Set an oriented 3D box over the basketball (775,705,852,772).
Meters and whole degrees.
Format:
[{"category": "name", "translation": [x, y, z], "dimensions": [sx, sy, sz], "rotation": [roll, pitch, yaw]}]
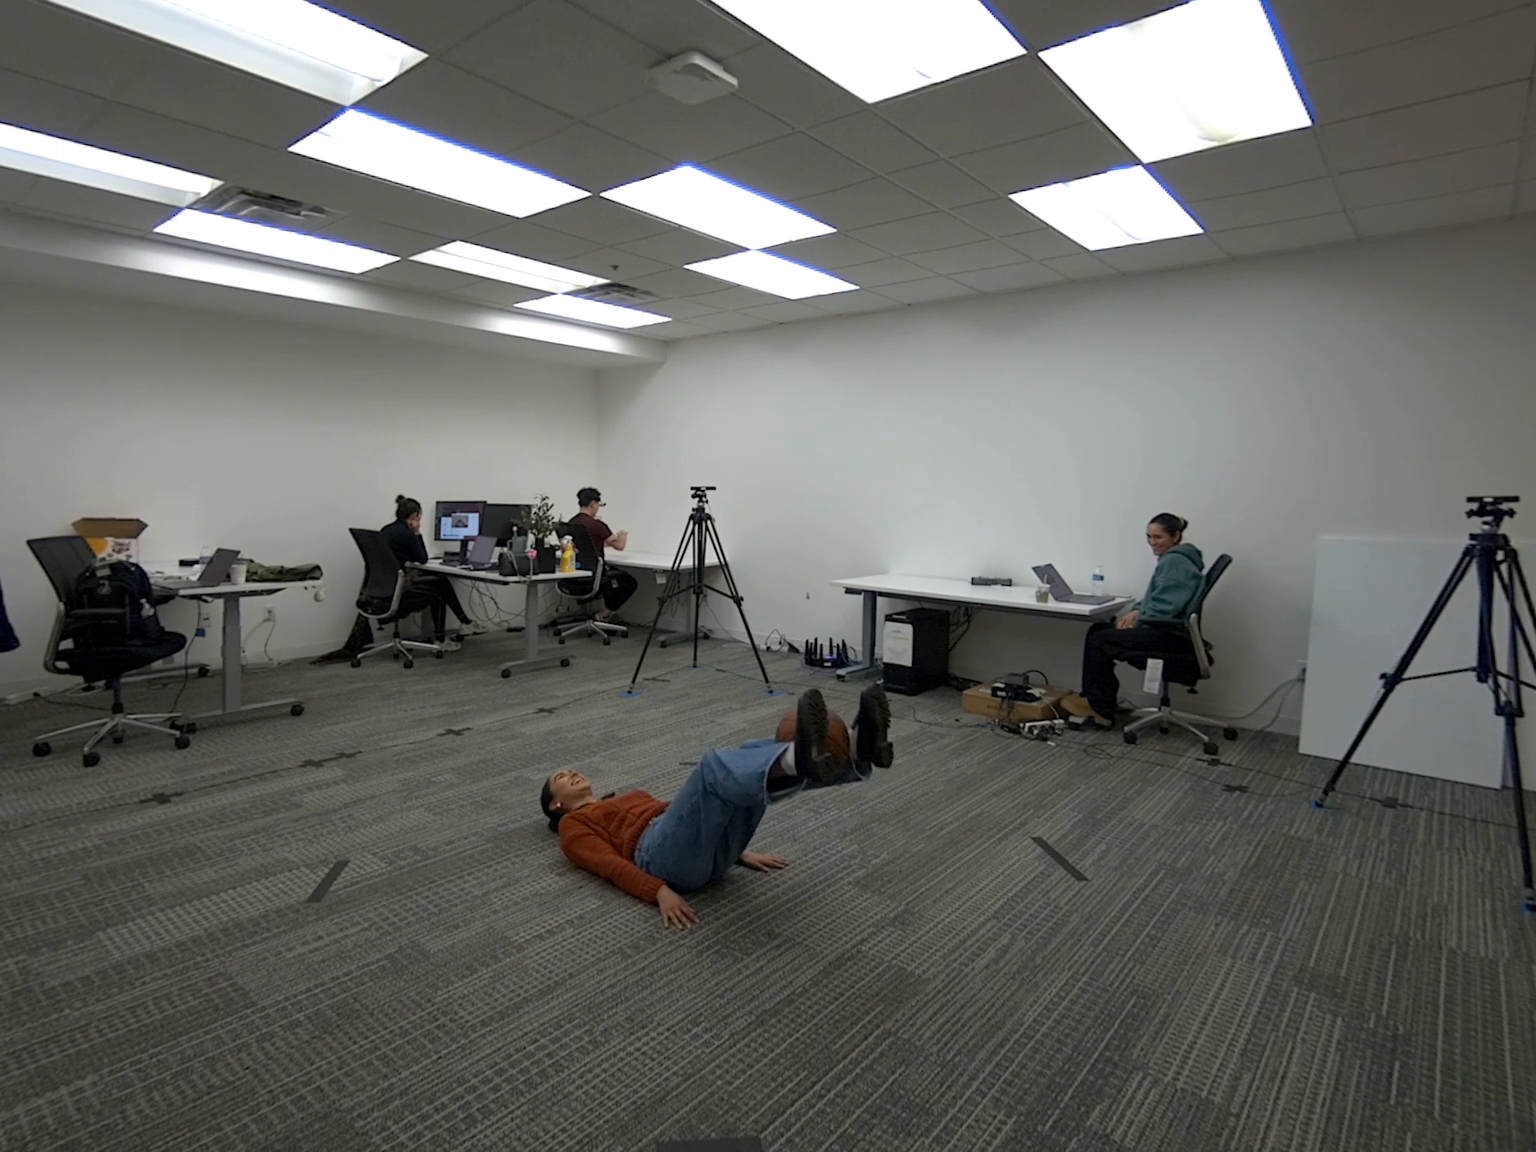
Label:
[{"category": "basketball", "translation": [0.133, 0.526, 2.690], "dimensions": [0.236, 0.235, 0.237], "rotation": [1, 4, -2]}]
